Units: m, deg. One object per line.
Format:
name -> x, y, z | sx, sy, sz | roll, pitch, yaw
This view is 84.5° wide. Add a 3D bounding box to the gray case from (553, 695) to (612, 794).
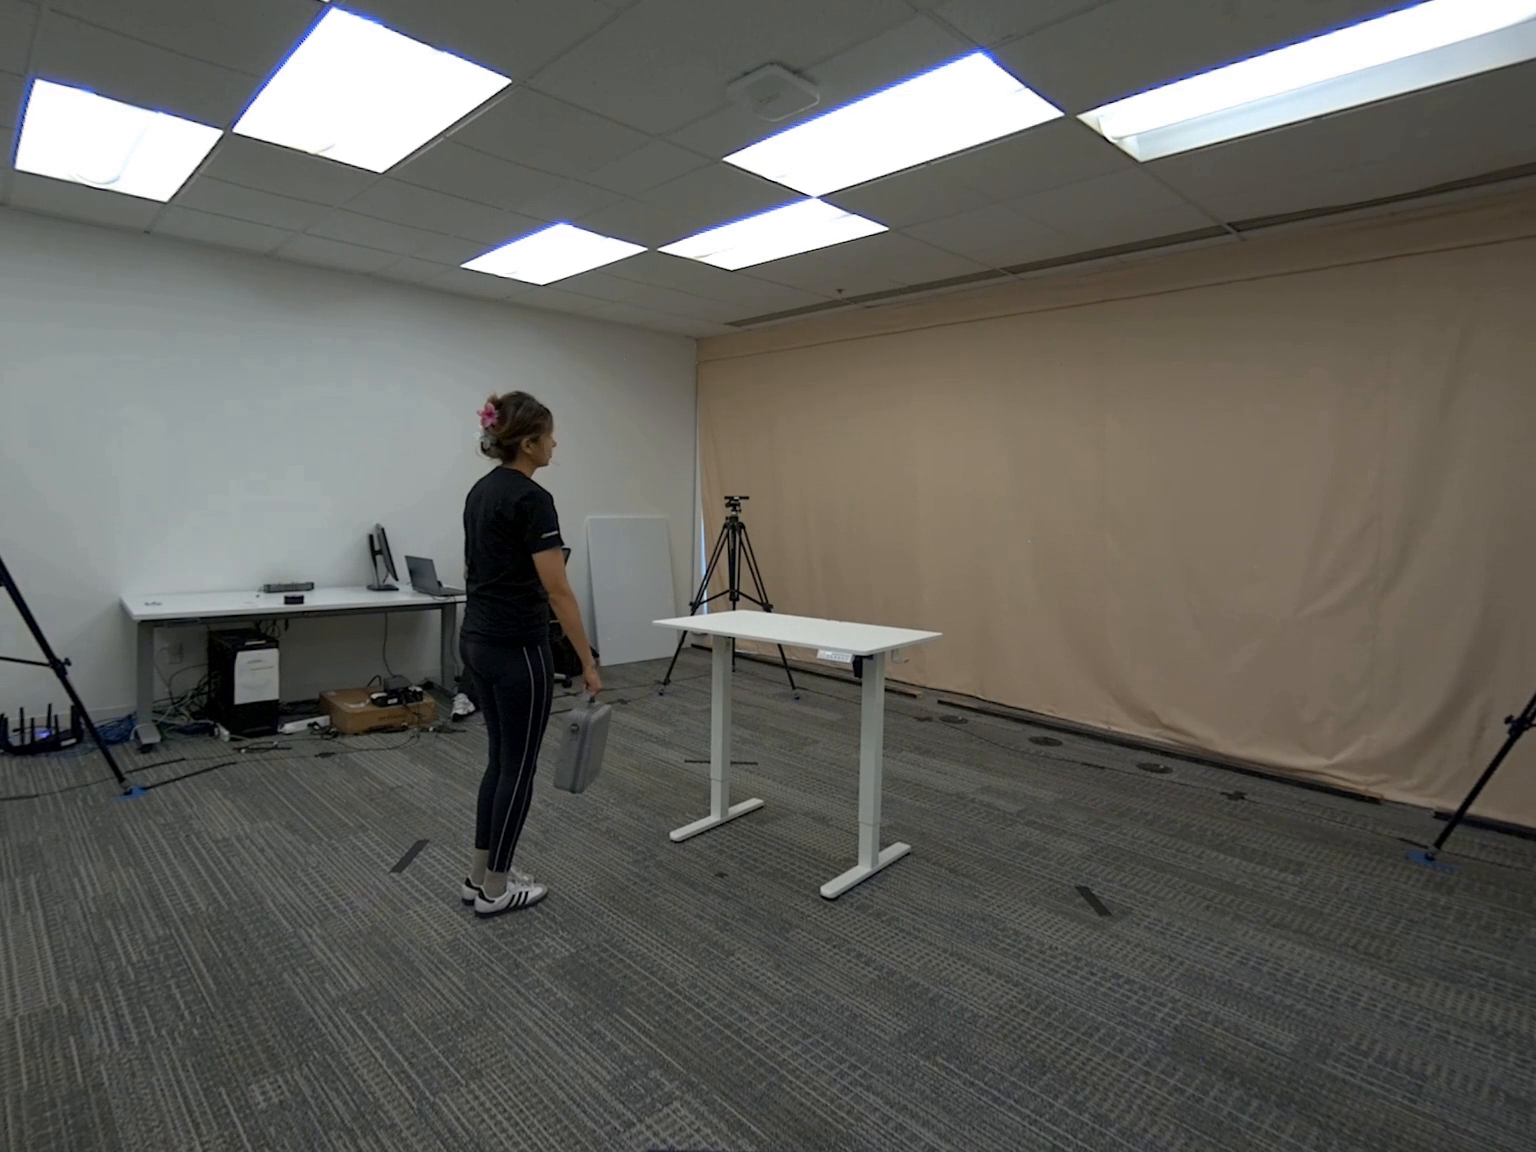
gray case -> -0.608, 0.546, 2.716 | 0.105, 0.260, 0.256 | 12, 1, 3
